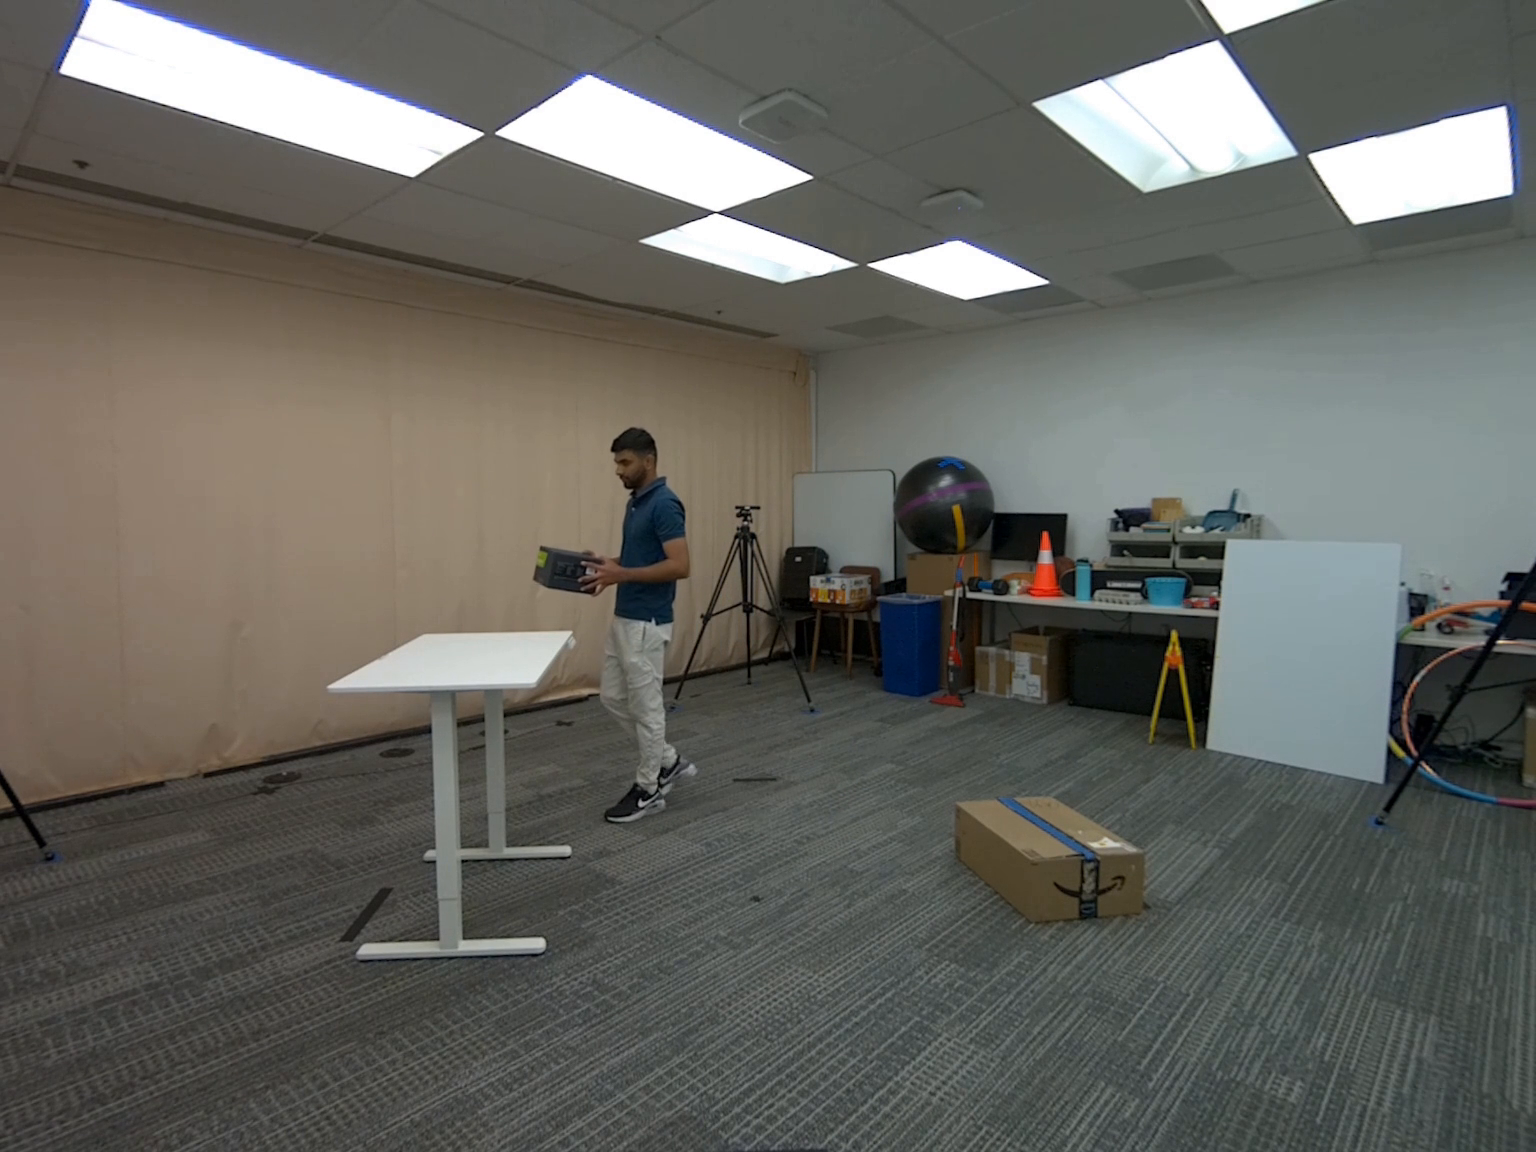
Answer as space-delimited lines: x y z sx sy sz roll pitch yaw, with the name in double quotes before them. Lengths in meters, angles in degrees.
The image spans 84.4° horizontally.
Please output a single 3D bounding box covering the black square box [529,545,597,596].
"black square box" -0.879 -0.026 3.652 0.210 0.156 0.235 10 3 -31
